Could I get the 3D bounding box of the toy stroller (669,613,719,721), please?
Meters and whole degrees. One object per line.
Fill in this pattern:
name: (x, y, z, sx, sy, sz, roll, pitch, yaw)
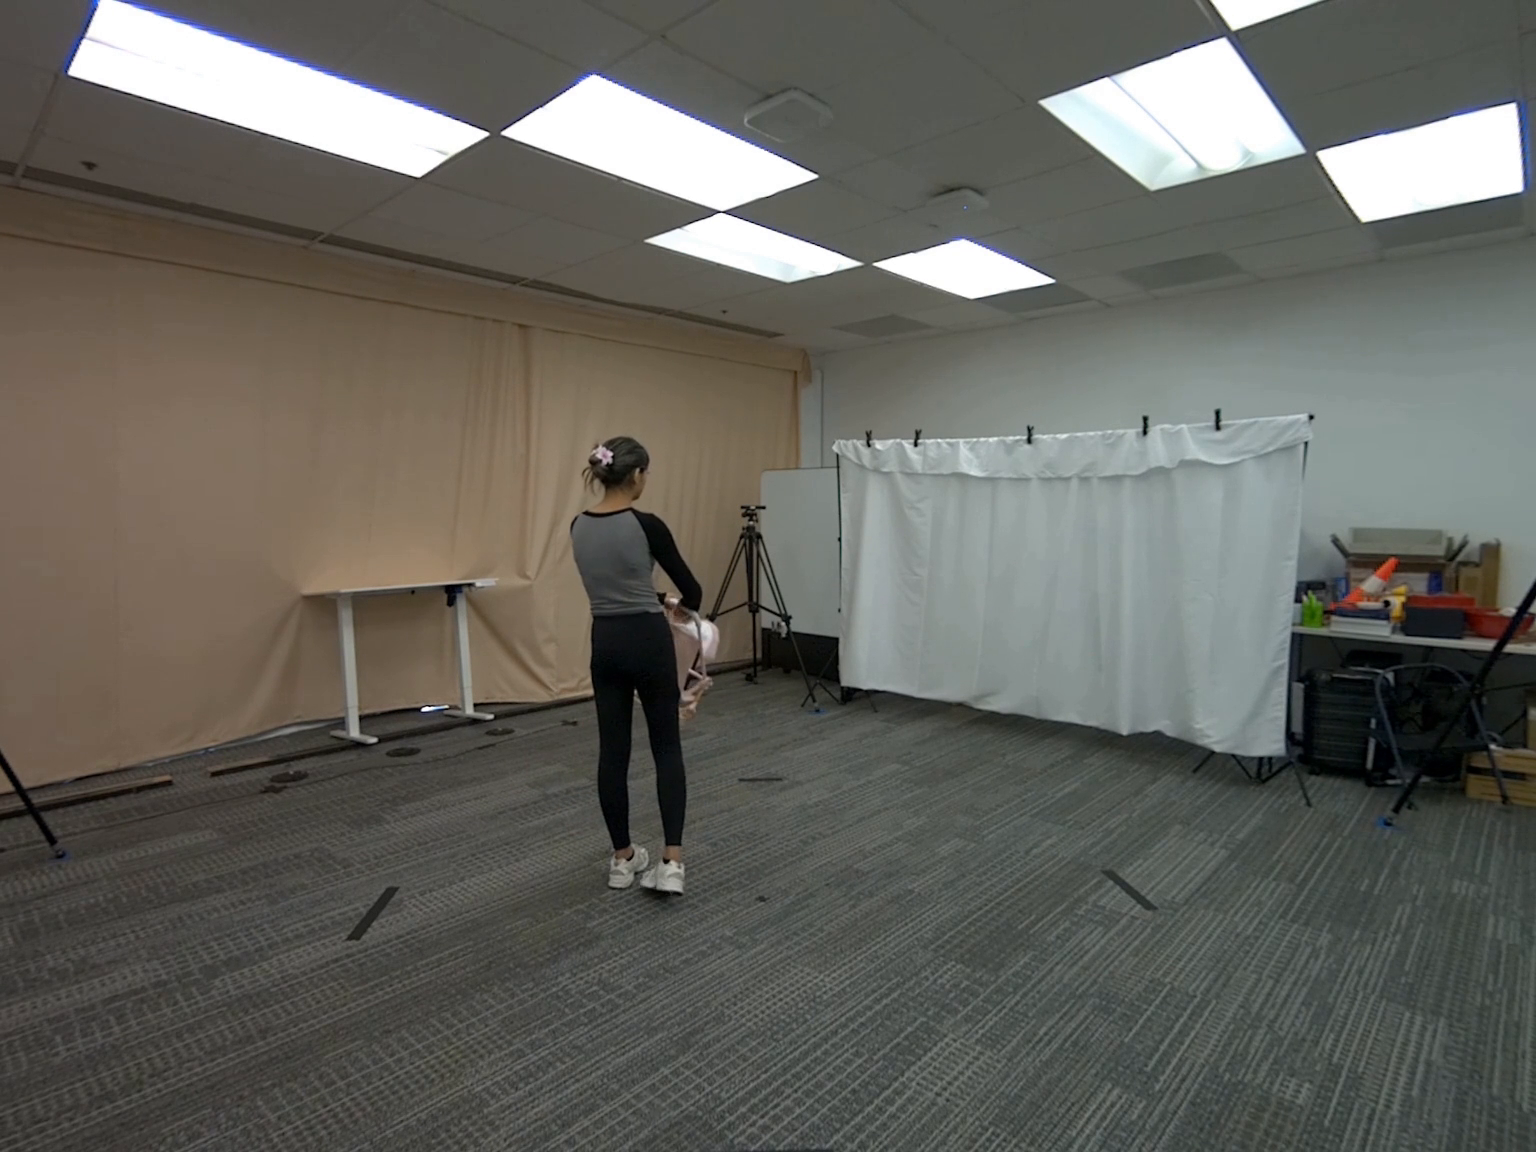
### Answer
toy stroller: (-0.365, 0.401, 3.507, 0.292, 0.535, 0.329, 22, -1, 40)
